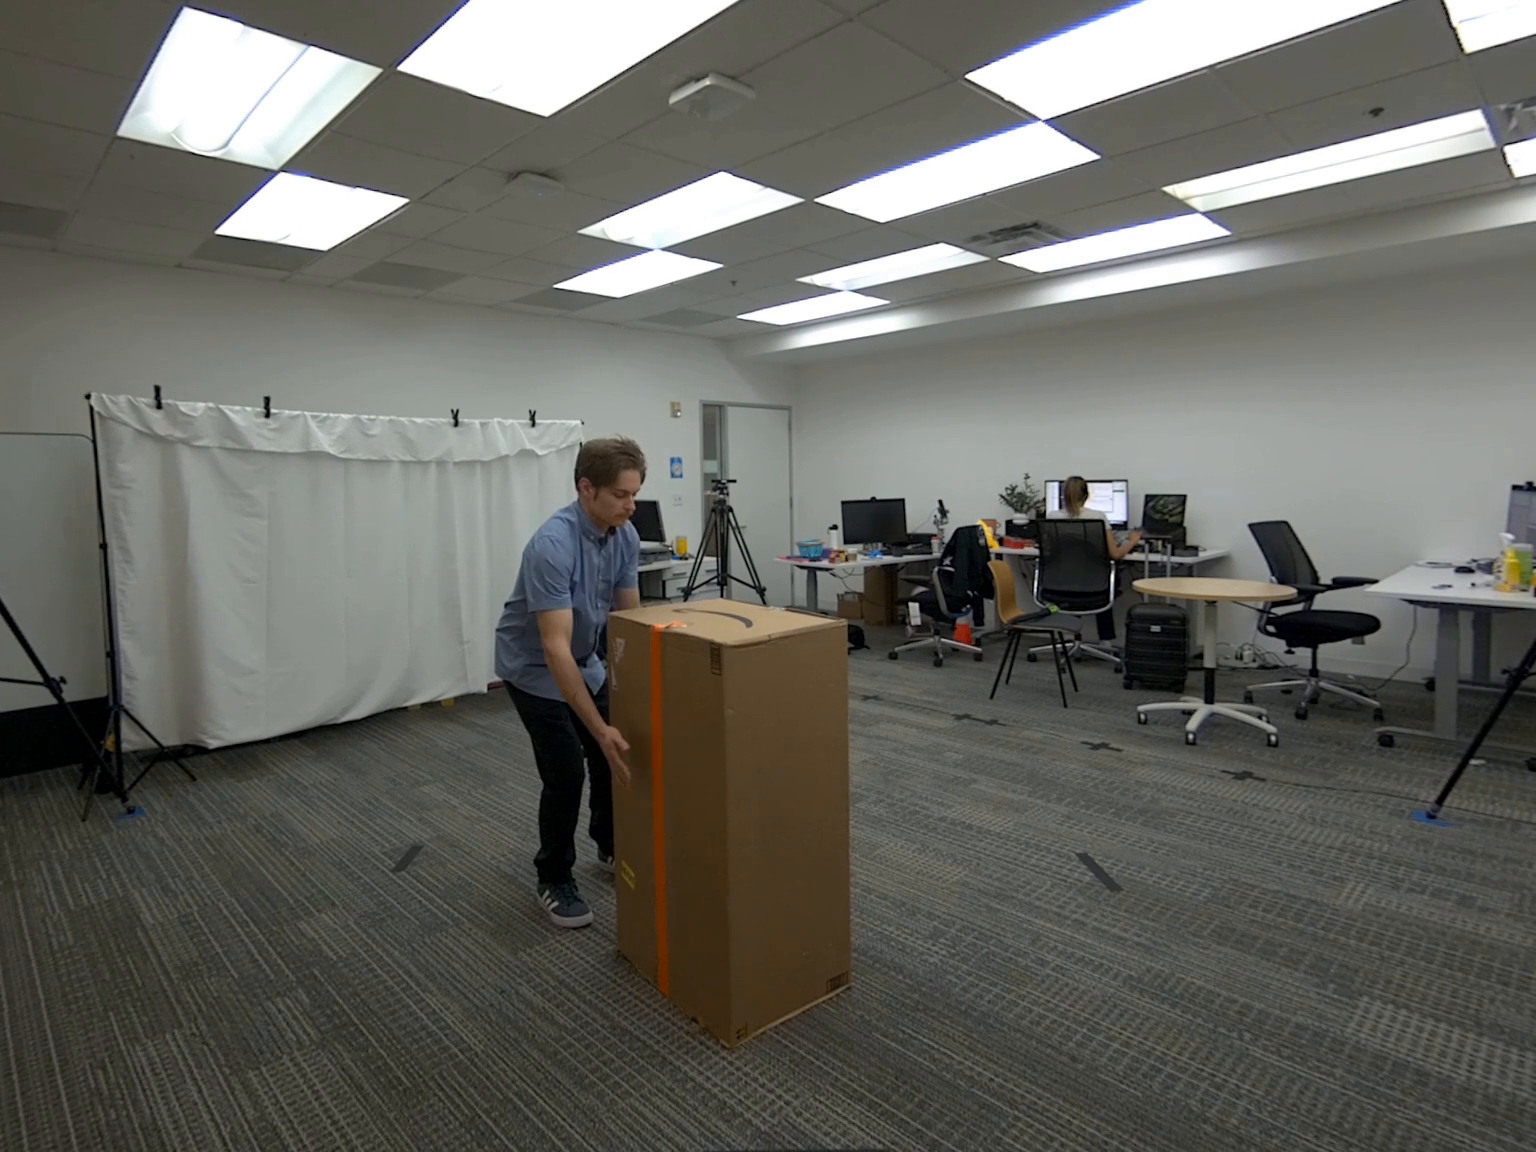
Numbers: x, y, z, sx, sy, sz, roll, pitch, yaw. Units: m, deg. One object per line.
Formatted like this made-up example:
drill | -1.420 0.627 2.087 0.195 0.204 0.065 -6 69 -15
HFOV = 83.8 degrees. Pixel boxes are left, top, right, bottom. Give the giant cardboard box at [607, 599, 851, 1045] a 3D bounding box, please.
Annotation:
giant cardboard box | -0.114 0.621 2.407 0.415 1.021 0.595 -4 6 -38
